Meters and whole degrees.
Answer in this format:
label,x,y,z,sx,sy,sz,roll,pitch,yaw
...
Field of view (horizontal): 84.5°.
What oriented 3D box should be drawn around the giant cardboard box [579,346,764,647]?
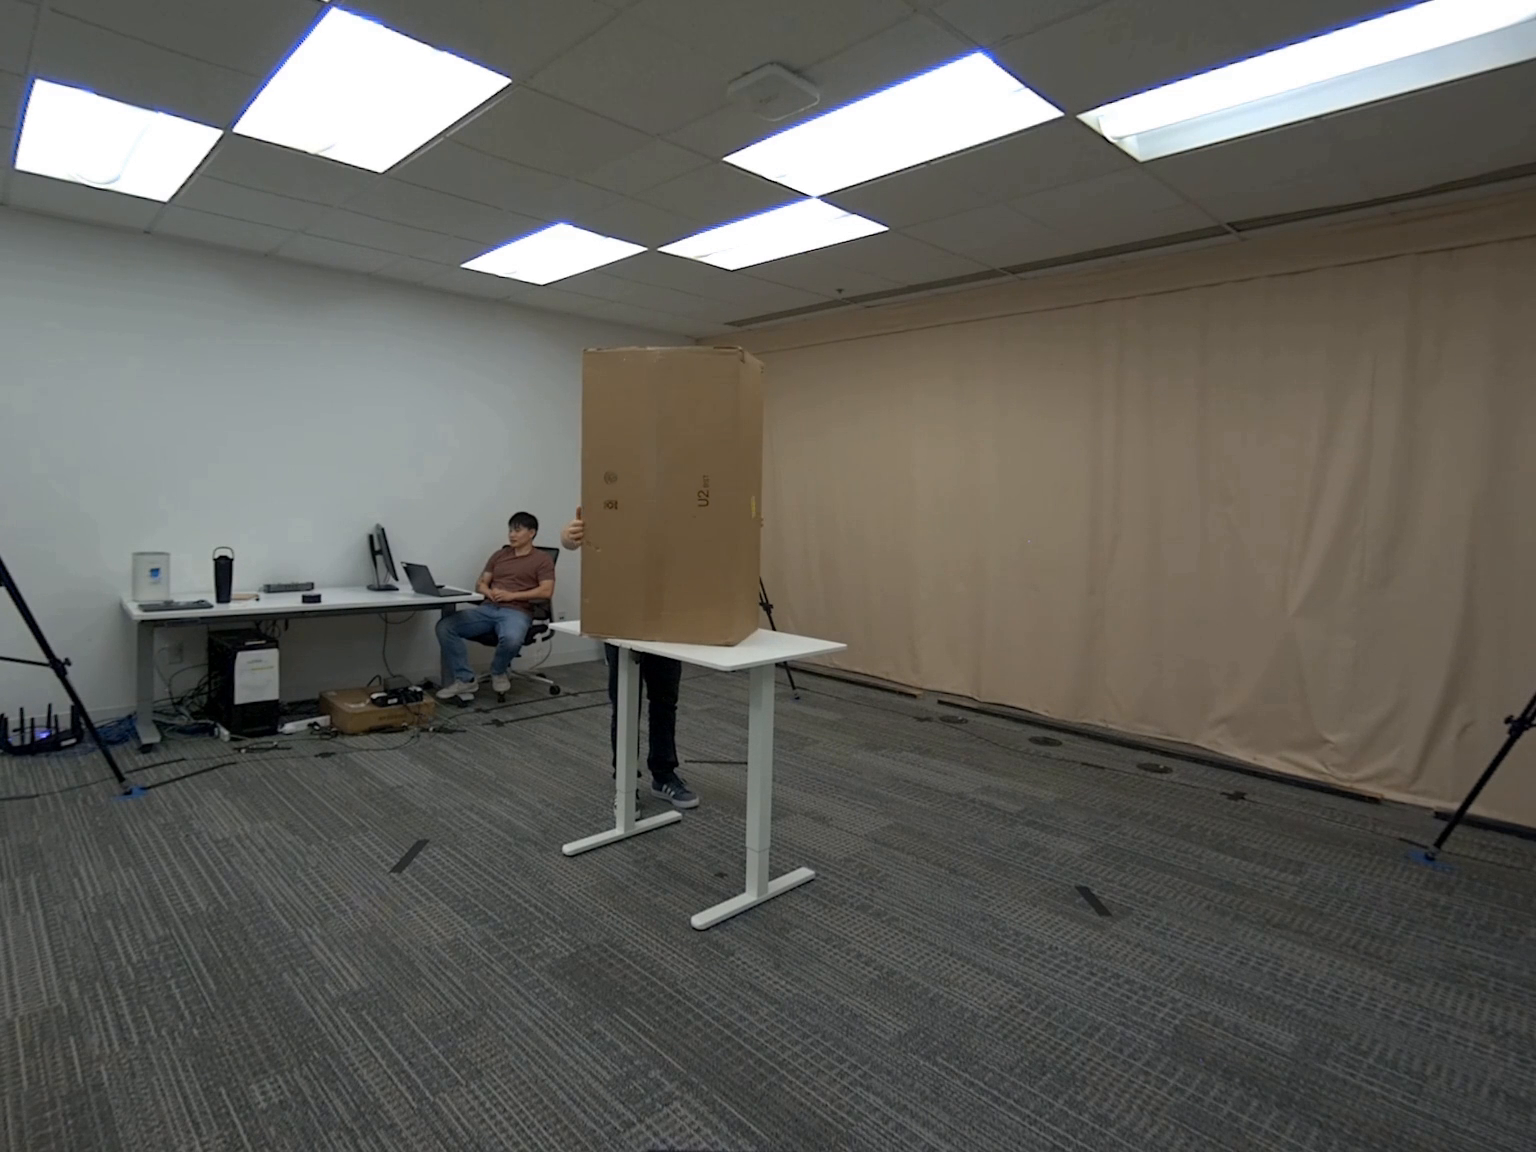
label,x,y,z,sx,sy,sz,roll,pitch,yaw
giant cardboard box,-0.347,-0.294,3.118,0.584,1.023,0.422,2,4,13
